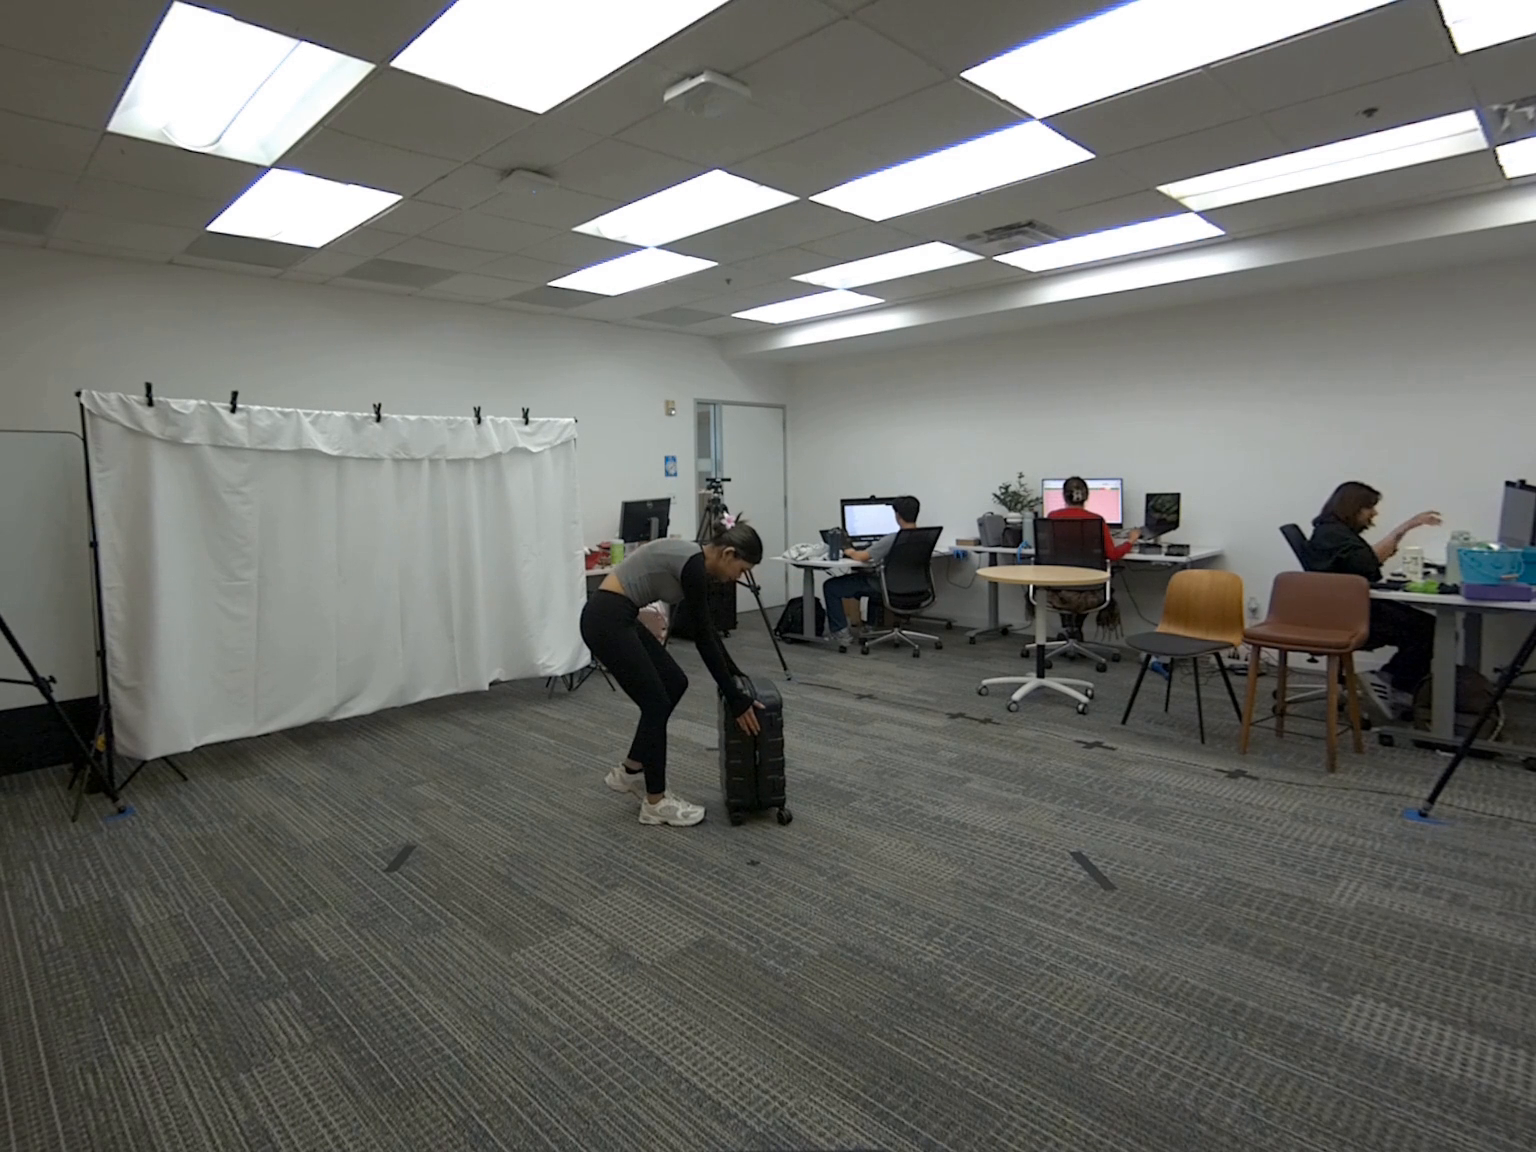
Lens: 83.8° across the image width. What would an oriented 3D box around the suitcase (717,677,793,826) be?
[{"bbox_3d":[-0.075,0.709,3.599,0.247,0.547,0.379,-2,4,-6],"label":"suitcase"}]
